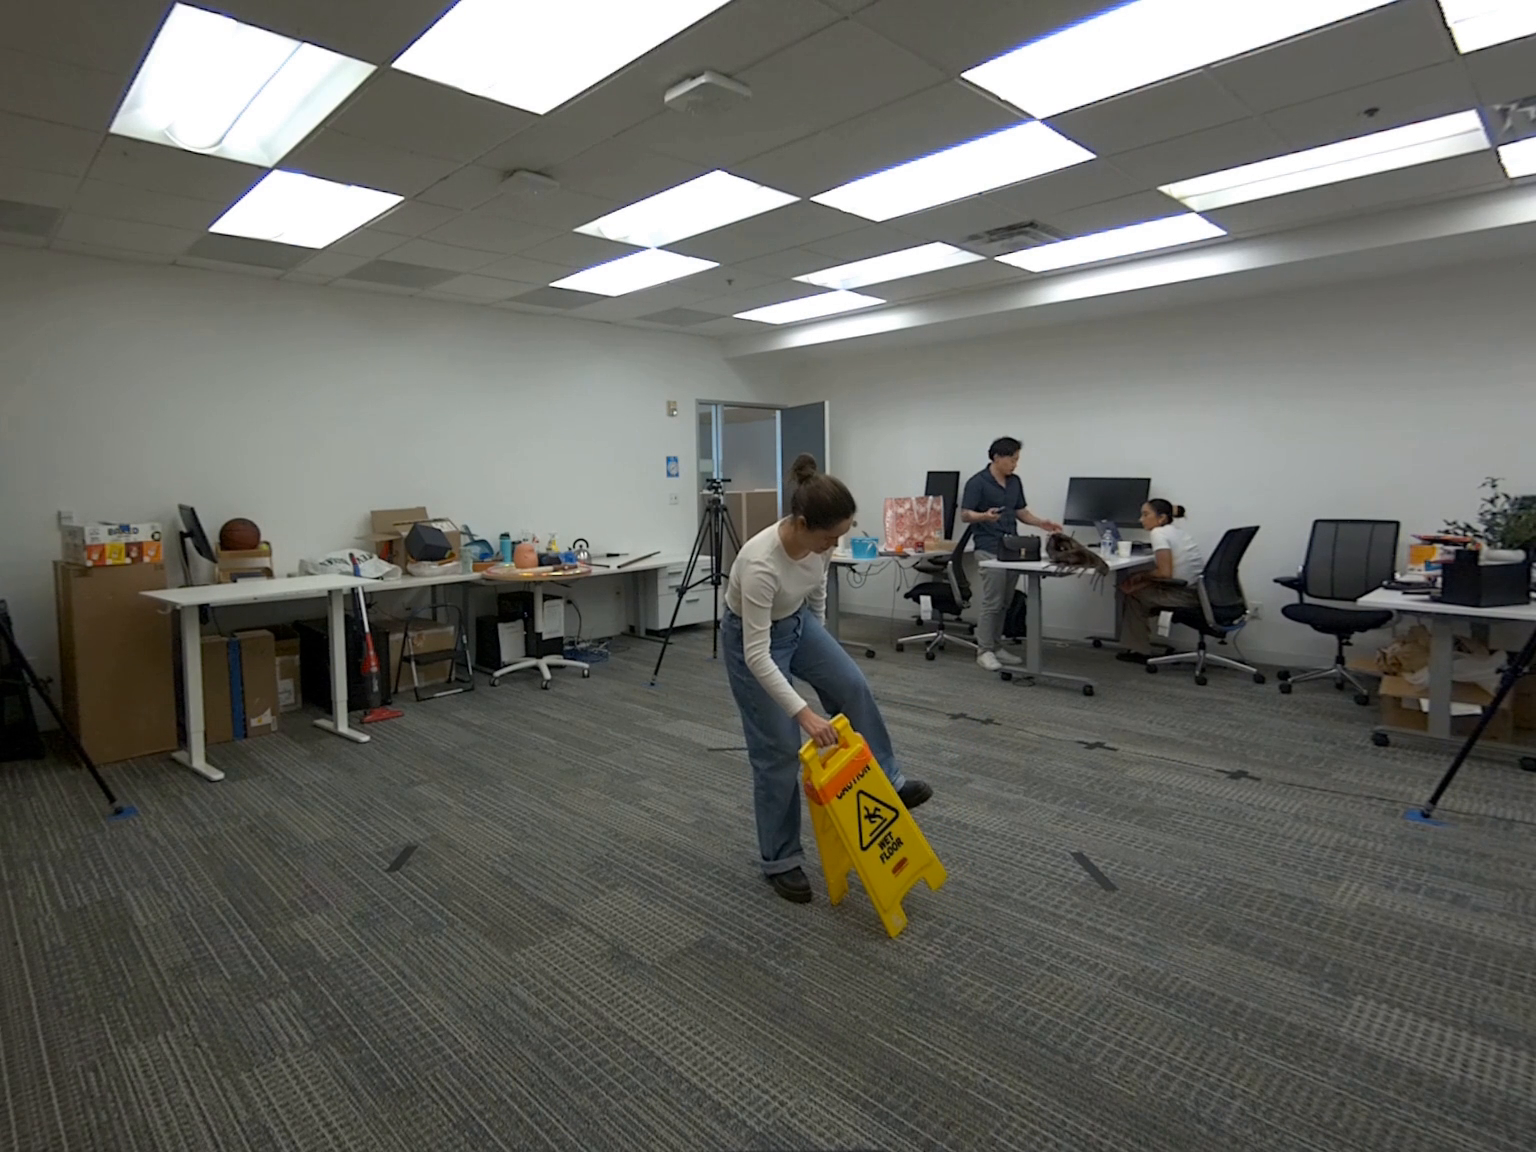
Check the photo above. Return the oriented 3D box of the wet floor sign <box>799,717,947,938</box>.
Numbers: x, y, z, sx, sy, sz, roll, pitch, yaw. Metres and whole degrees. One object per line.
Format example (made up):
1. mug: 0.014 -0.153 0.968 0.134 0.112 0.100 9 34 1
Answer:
1. wet floor sign: 0.277 0.746 2.660 0.280 0.632 0.298 -35 23 -31
